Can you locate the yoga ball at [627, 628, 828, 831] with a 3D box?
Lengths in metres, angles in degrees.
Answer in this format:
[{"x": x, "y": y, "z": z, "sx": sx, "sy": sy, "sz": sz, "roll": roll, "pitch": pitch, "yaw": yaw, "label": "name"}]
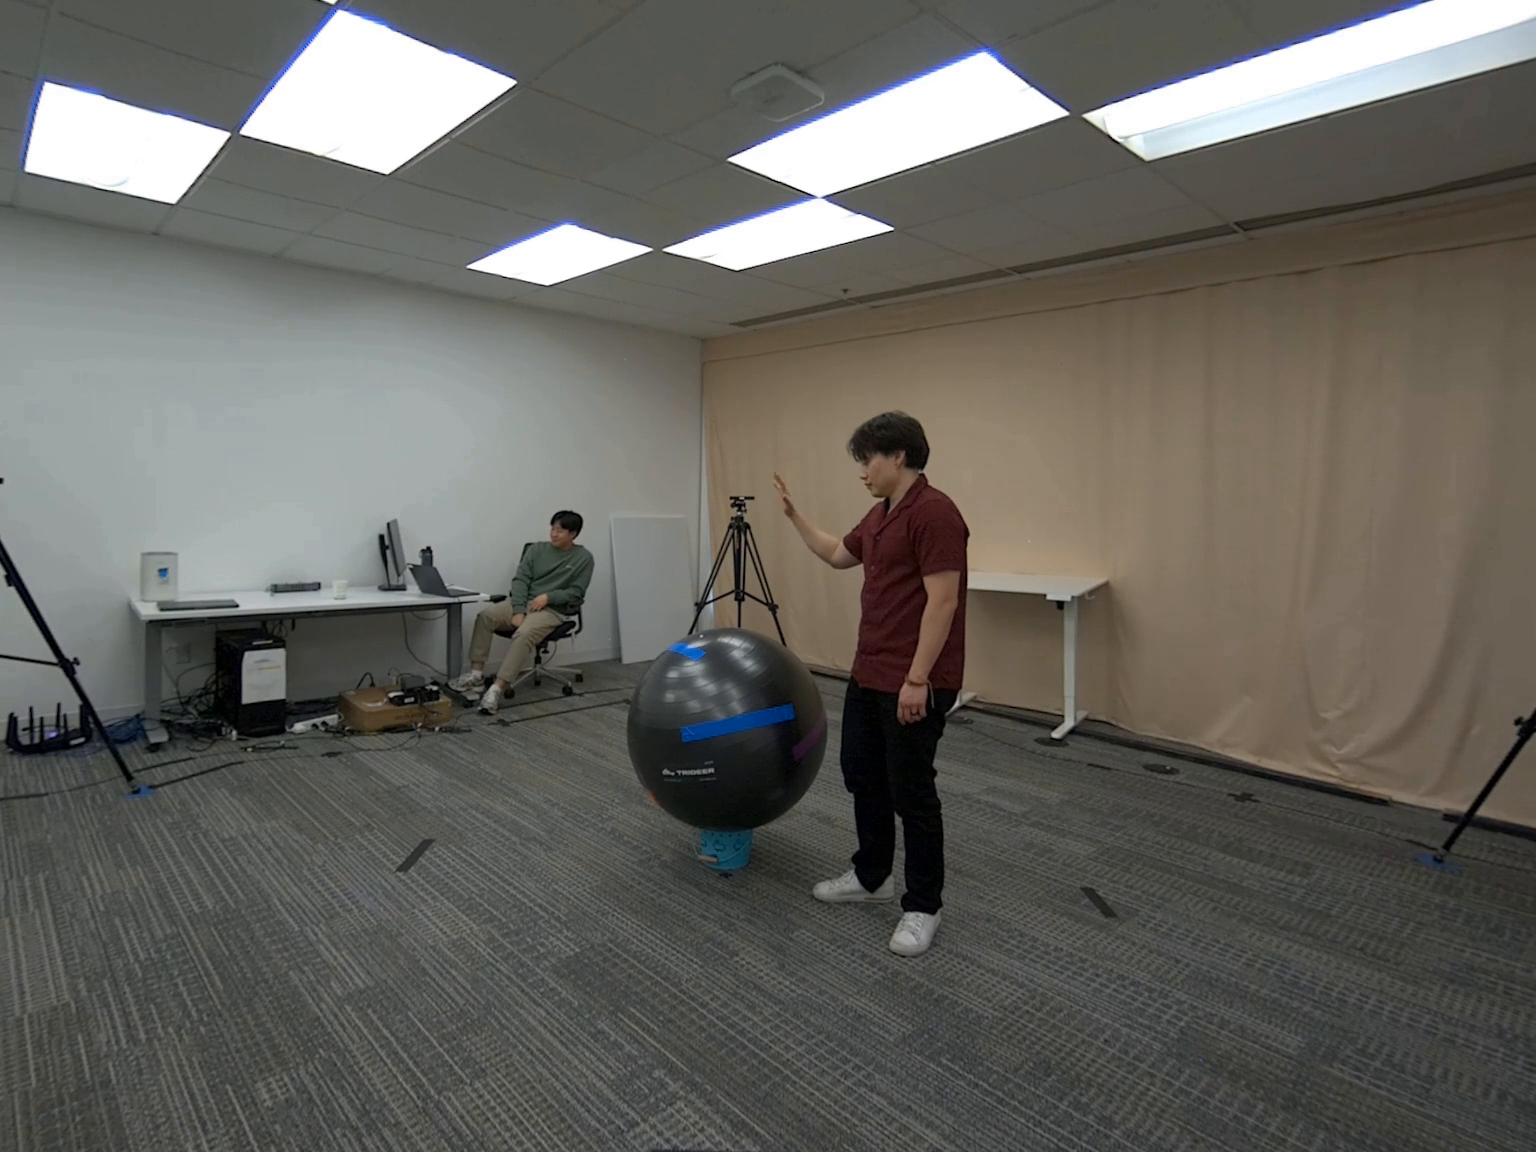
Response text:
[{"x": -0.176, "y": 0.589, "z": 3.217, "sx": 0.757, "sy": 0.756, "sz": 0.761, "roll": 1, "pitch": 4, "yaw": -1, "label": "yoga ball"}]
